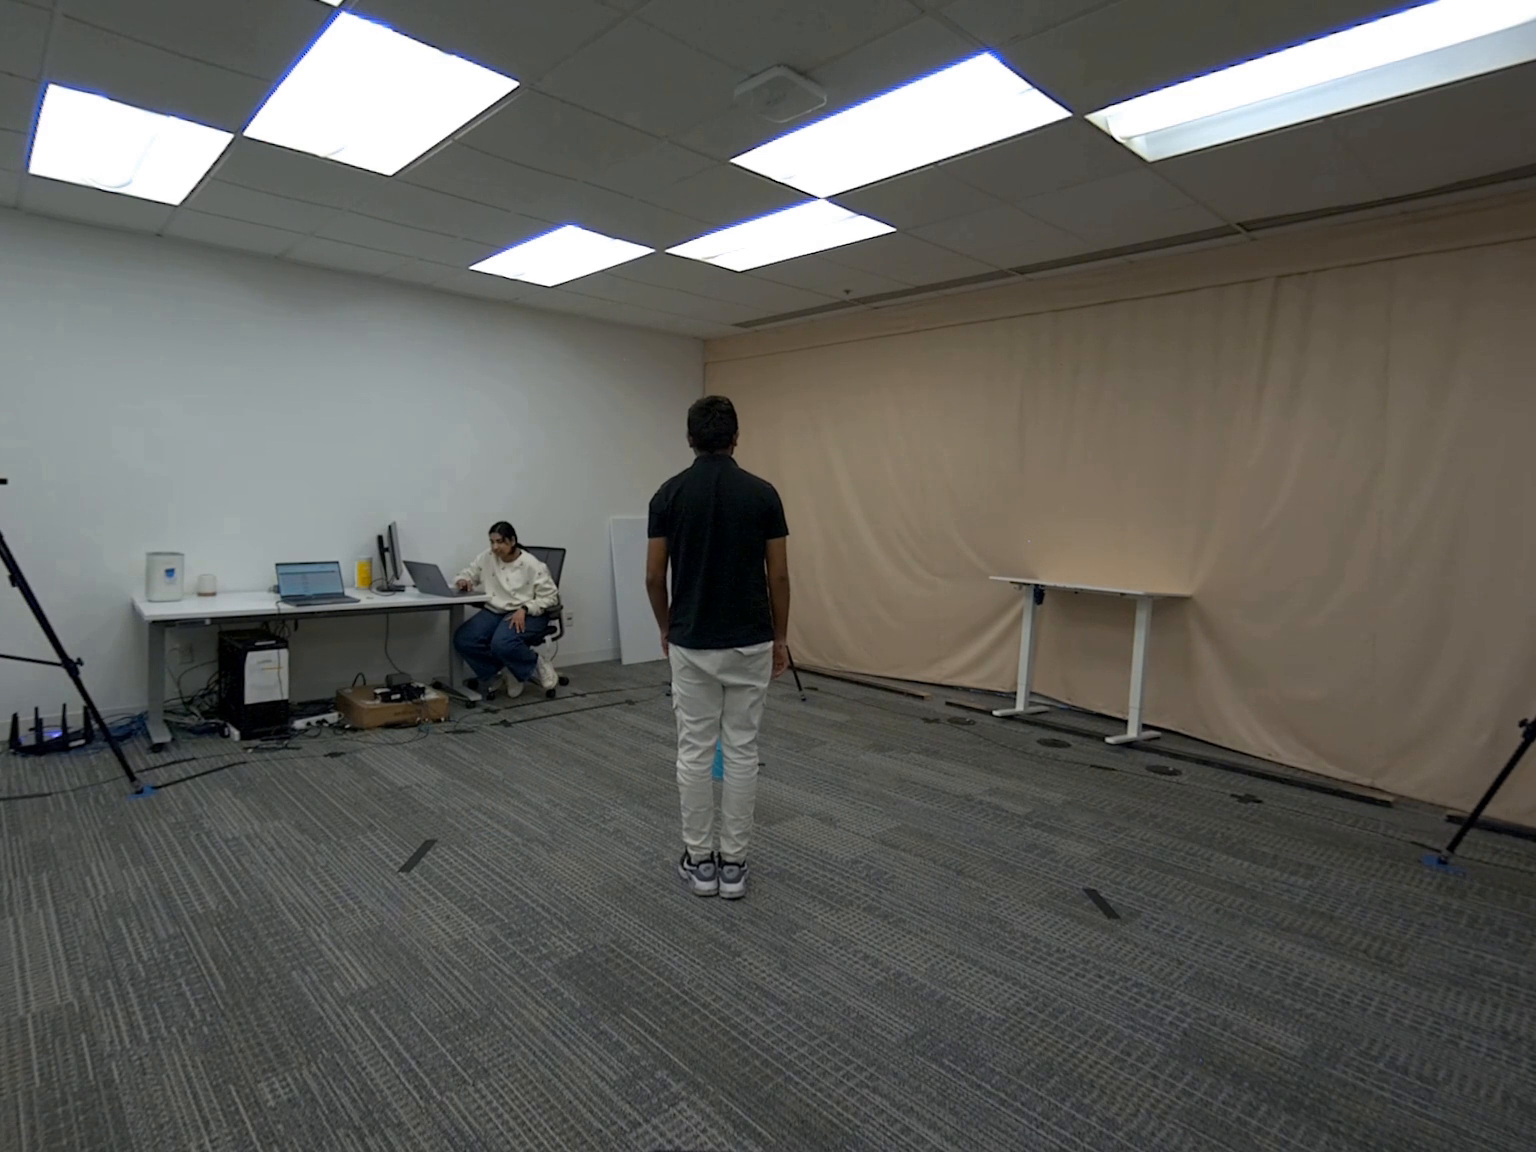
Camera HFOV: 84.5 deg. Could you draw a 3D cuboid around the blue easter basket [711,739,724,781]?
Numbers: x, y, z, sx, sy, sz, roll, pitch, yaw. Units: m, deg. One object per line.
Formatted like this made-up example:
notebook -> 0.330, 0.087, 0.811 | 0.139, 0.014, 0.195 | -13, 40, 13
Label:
blue easter basket -> -0.228, 0.928, 4.293 | 0.243, 0.155, 0.244 | 1, 5, -1
